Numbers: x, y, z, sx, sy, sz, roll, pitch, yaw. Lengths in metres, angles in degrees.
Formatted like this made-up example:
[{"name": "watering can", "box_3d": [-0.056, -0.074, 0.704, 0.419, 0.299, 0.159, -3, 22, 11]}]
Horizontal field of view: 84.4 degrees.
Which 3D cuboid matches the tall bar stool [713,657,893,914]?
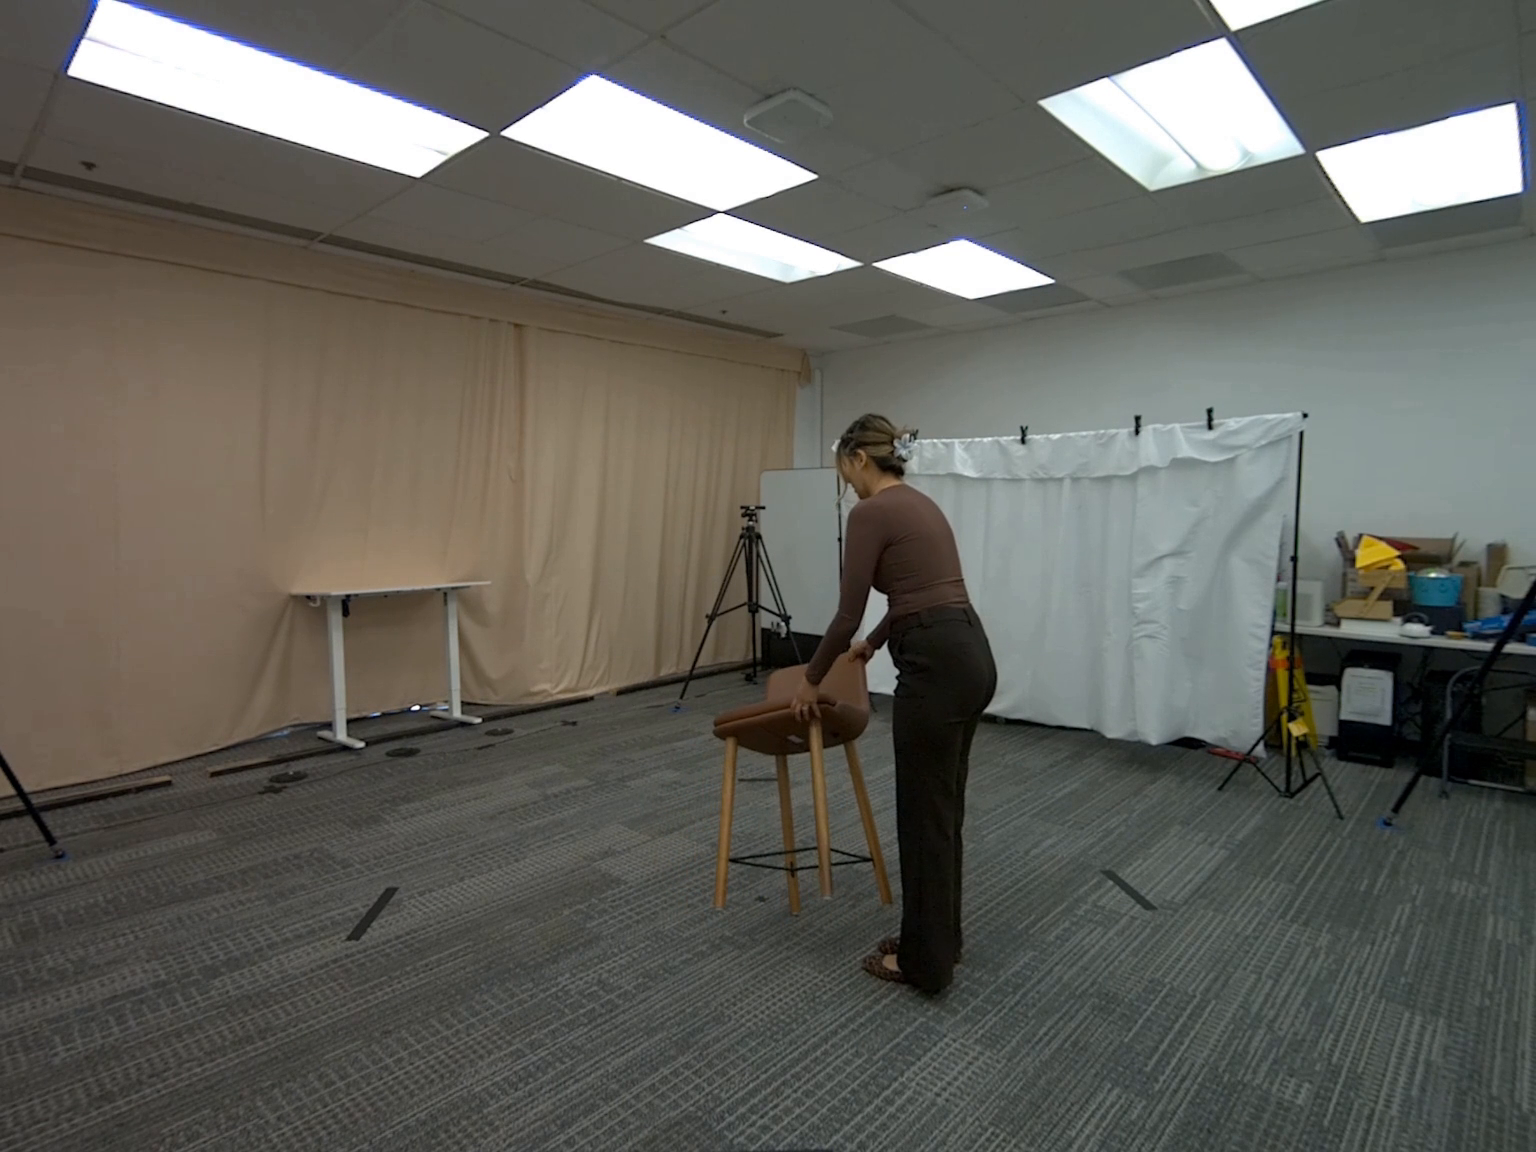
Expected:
[{"name": "tall bar stool", "box_3d": [0.101, 0.642, 2.829, 0.466, 0.904, 0.450, -20, -32, 30]}]
